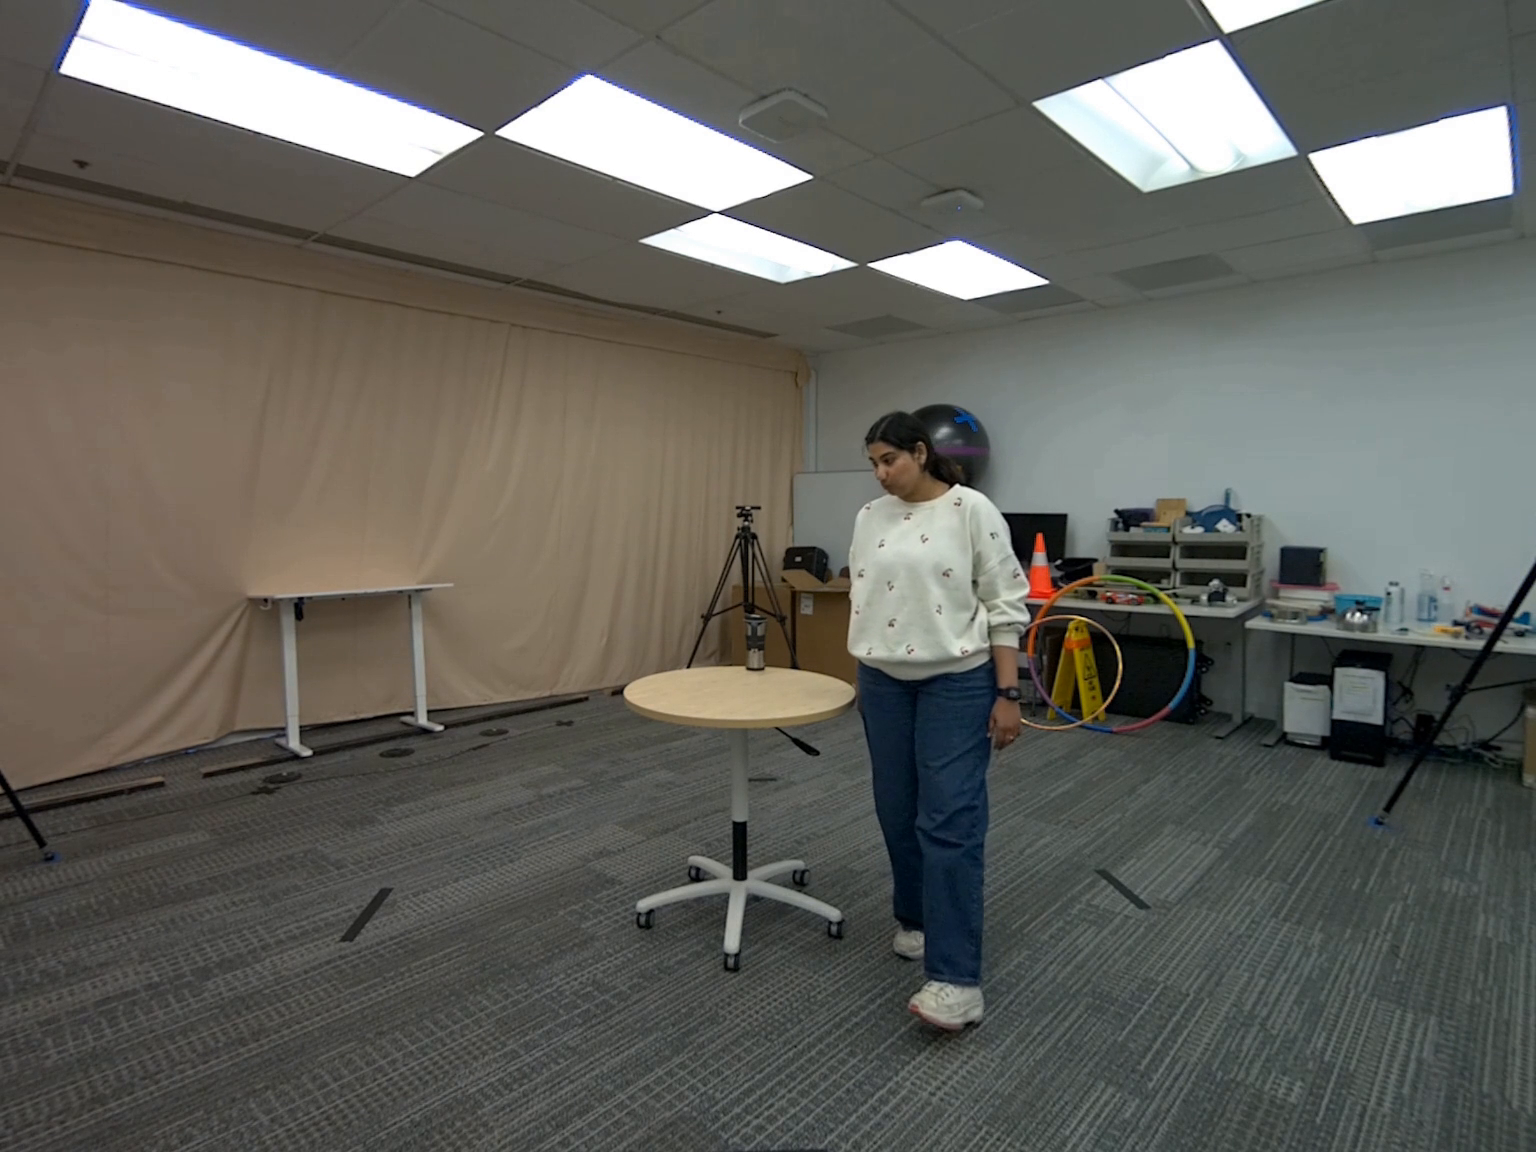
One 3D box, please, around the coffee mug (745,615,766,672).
[{"bbox_3d":[-0.053,0.252,3.100,0.090,0.202,0.118,8,4,30],"label":"coffee mug"}]
